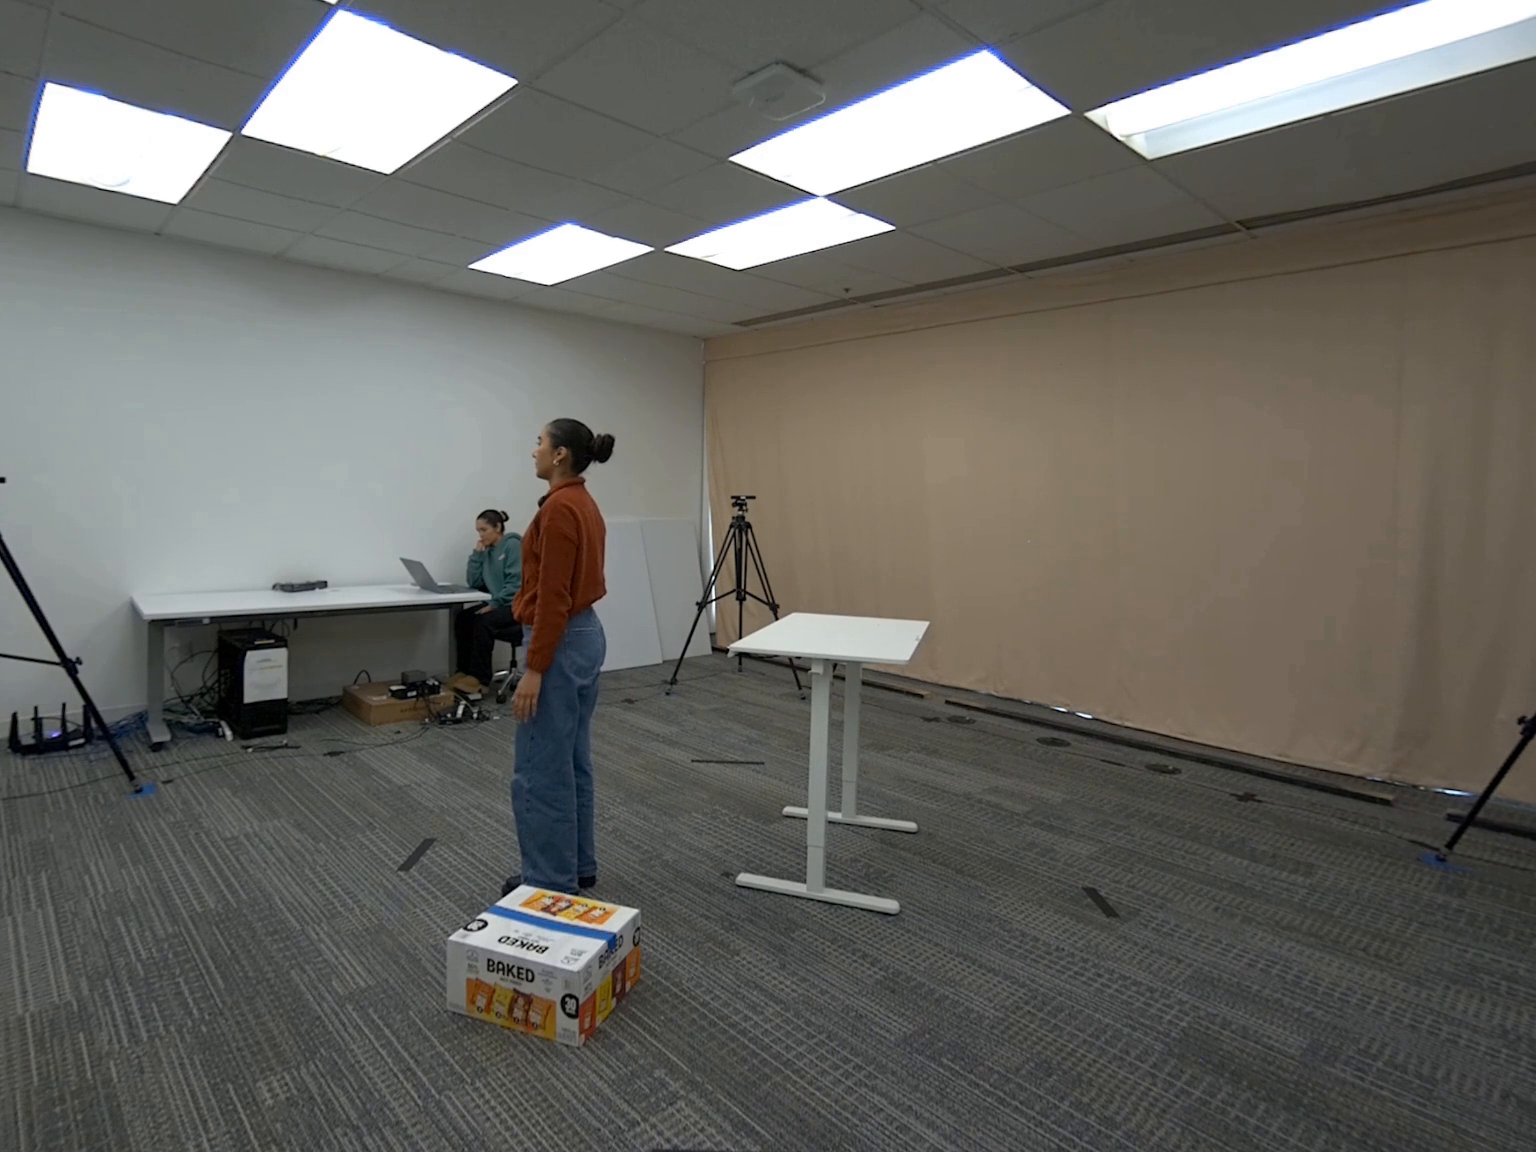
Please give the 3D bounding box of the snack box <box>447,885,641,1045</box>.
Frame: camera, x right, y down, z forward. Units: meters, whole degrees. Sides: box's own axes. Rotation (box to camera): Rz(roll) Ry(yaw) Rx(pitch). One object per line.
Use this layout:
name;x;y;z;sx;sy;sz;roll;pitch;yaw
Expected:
snack box;-0.616;1.065;2.321;0.412;0.205;0.336;3;5;20
